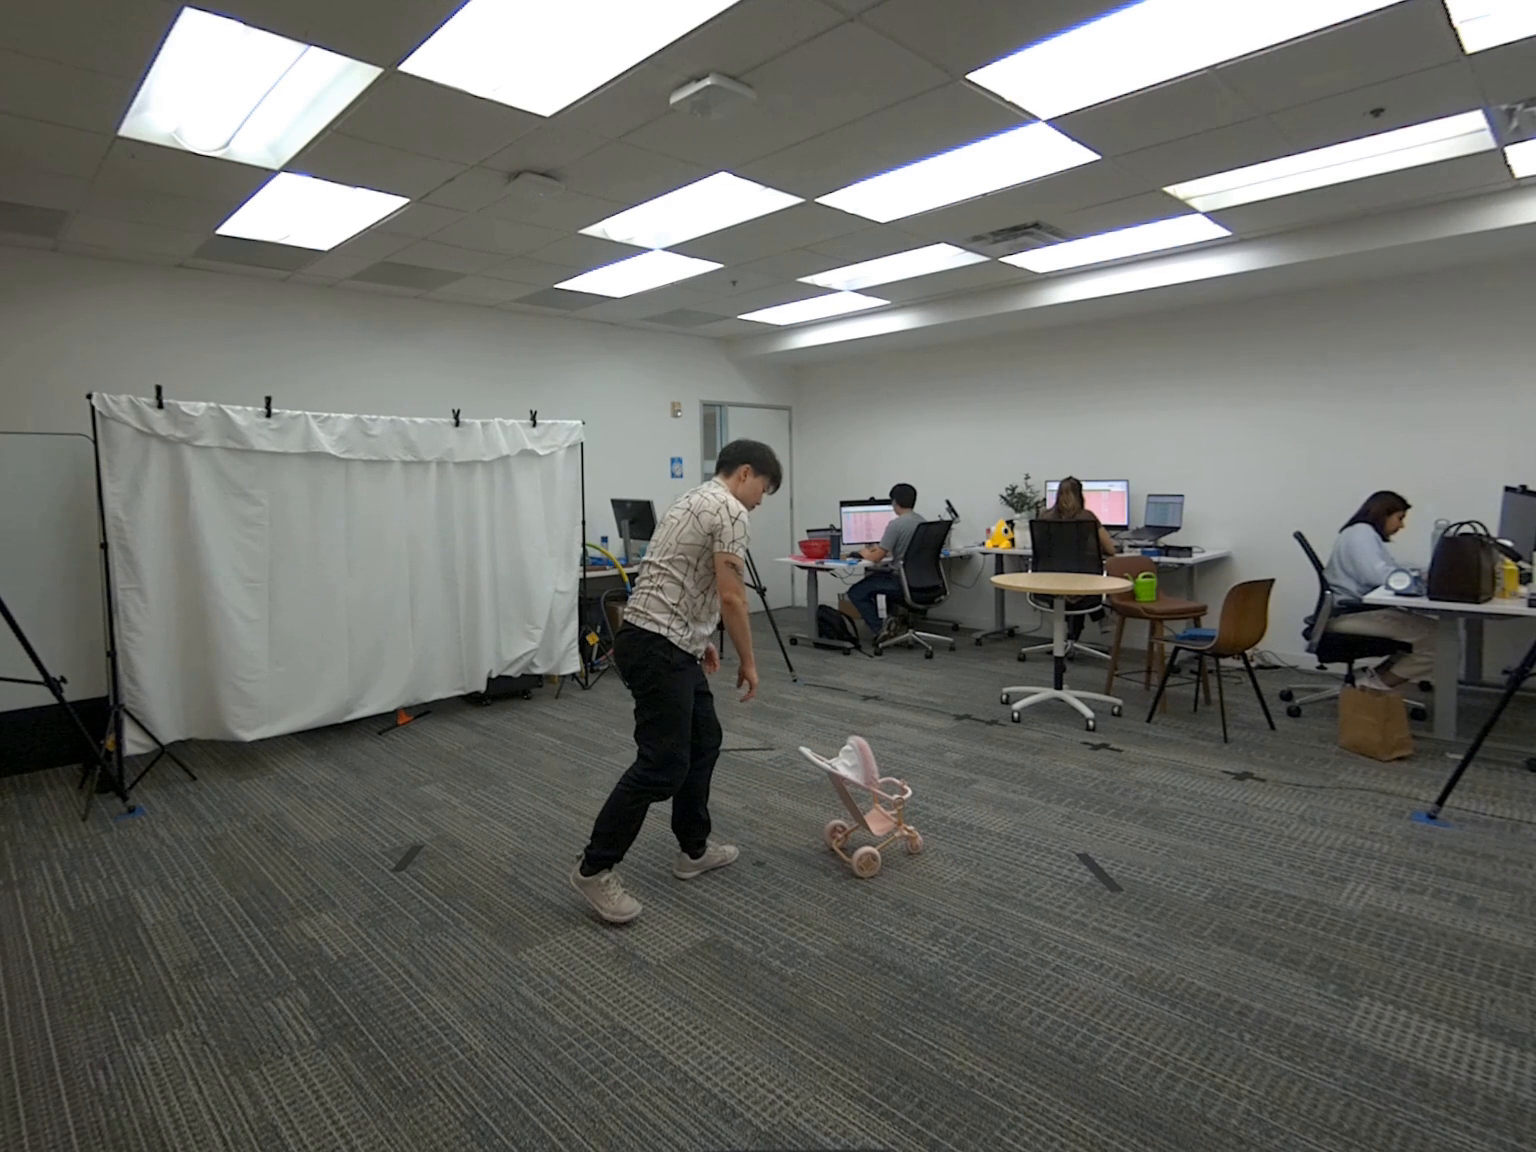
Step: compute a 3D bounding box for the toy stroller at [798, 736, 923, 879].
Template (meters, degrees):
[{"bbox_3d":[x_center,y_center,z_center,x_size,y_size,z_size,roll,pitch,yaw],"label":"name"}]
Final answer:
[{"bbox_3d":[0.357,0.819,3.109,0.339,0.530,0.286,-19,8,-12],"label":"toy stroller"}]
